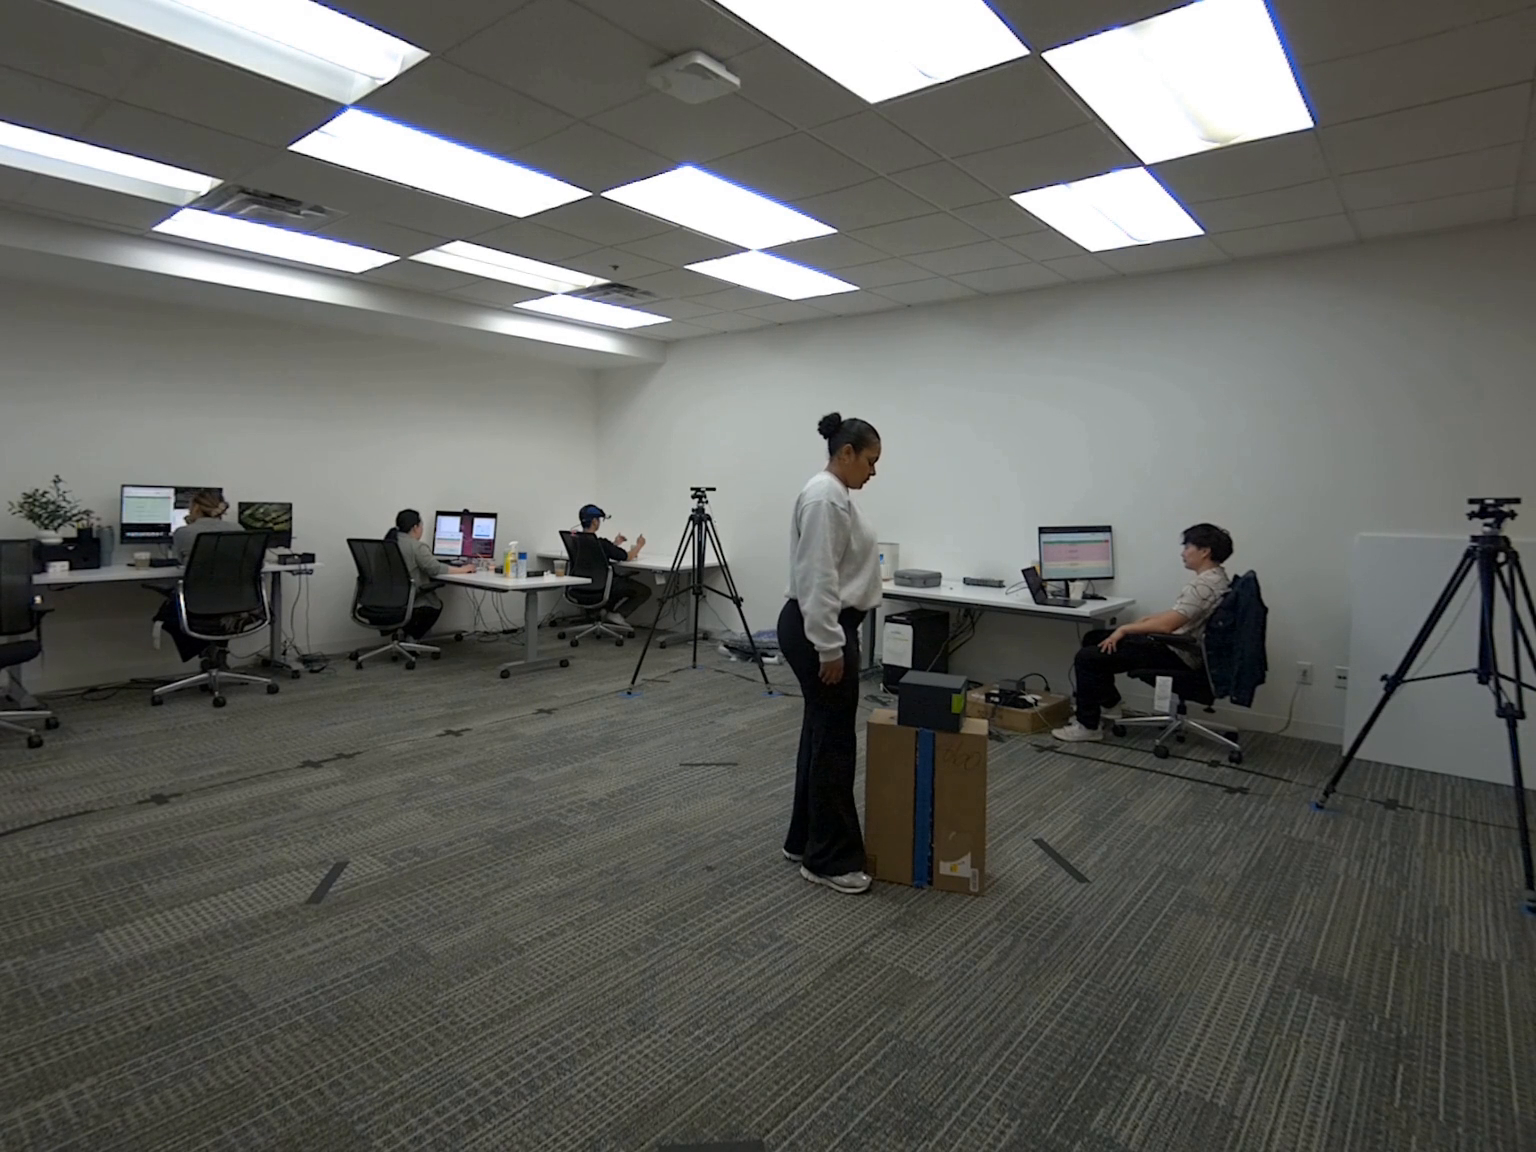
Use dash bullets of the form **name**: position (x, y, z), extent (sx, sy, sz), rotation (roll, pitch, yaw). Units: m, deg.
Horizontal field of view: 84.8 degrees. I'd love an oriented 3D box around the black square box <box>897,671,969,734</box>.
- **black square box**: position (0.587, 0.445, 3.065), extent (0.222, 0.155, 0.224), rotation (3, 5, 19)
